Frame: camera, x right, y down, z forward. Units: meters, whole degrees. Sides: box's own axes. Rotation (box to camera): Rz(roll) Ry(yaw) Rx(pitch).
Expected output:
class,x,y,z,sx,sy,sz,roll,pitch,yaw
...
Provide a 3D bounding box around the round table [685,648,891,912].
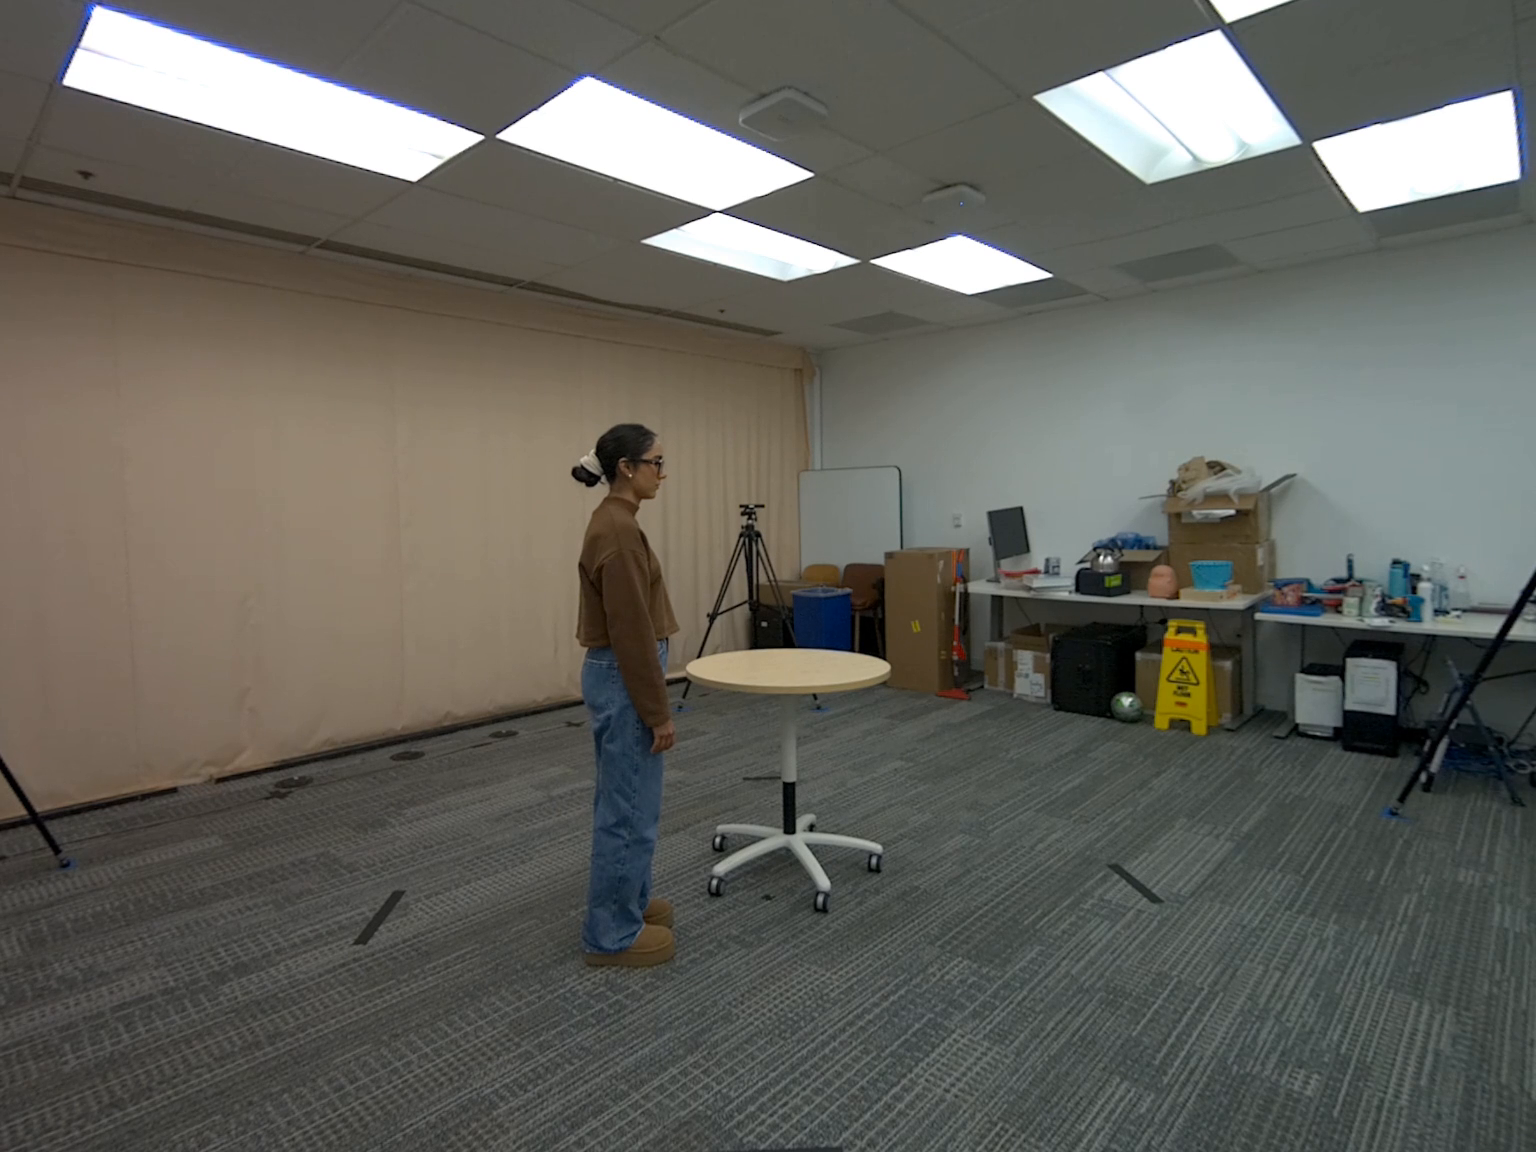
class,x,y,z,sx,sy,sz,roll,pitch,yaw
round table,0.084,0.728,3.179,0.784,0.785,0.787,-1,3,-2
